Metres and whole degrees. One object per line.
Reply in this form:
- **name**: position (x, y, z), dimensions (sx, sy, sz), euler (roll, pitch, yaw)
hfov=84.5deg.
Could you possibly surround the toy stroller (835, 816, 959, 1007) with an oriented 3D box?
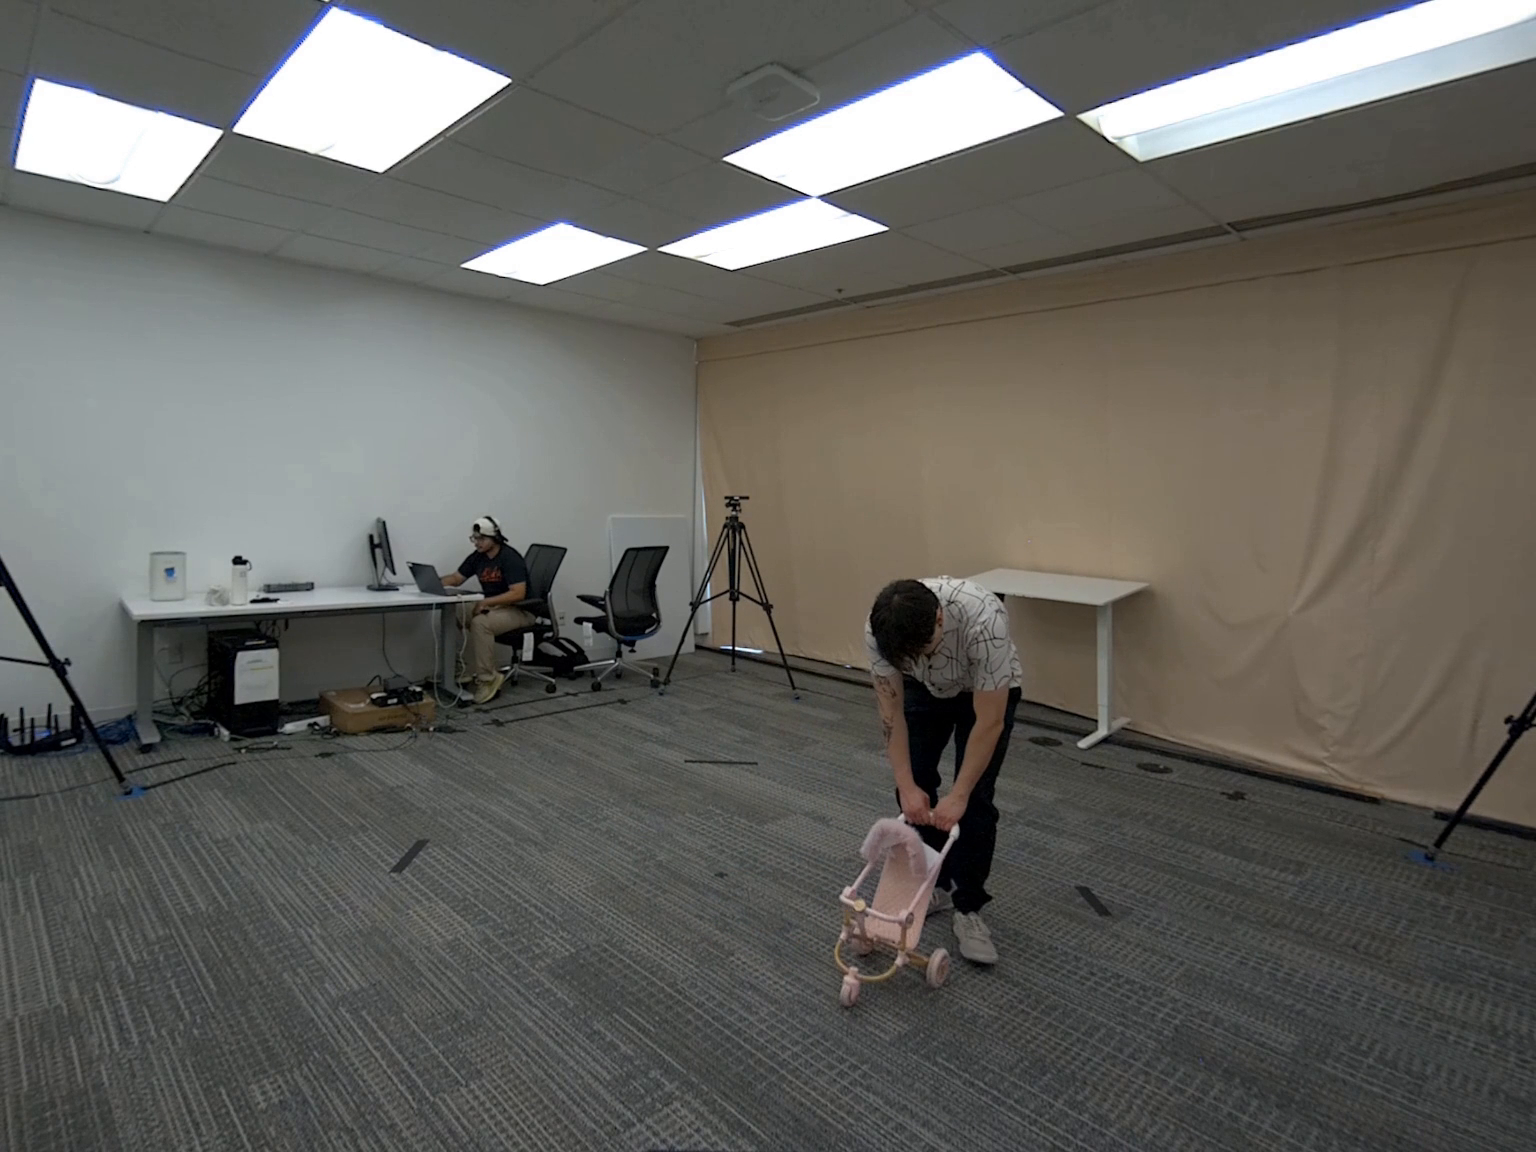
- **toy stroller**: position (0.351, 0.953, 2.449), dimensions (0.331, 0.537, 0.288), euler (20, -10, -42)
